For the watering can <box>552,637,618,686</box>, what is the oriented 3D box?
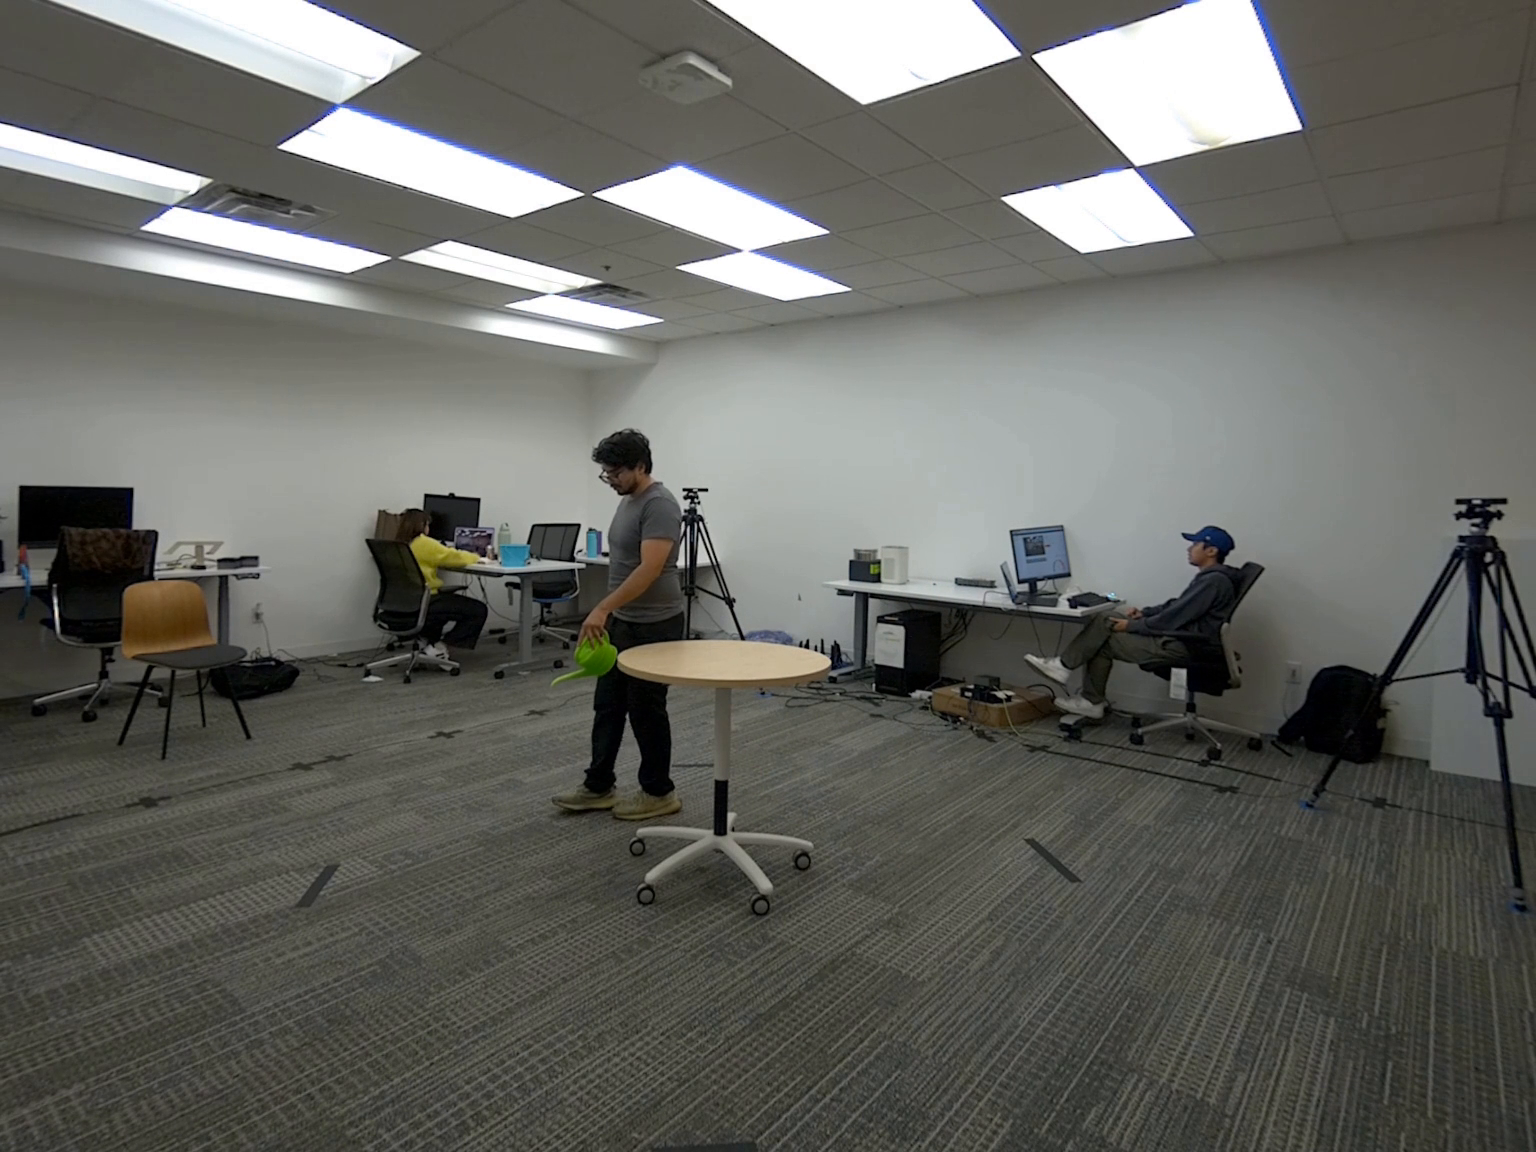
[{"bbox_3d":[-0.718,0.317,3.247,0.102,0.278,0.169,49,2,43],"label":"watering can"}]
